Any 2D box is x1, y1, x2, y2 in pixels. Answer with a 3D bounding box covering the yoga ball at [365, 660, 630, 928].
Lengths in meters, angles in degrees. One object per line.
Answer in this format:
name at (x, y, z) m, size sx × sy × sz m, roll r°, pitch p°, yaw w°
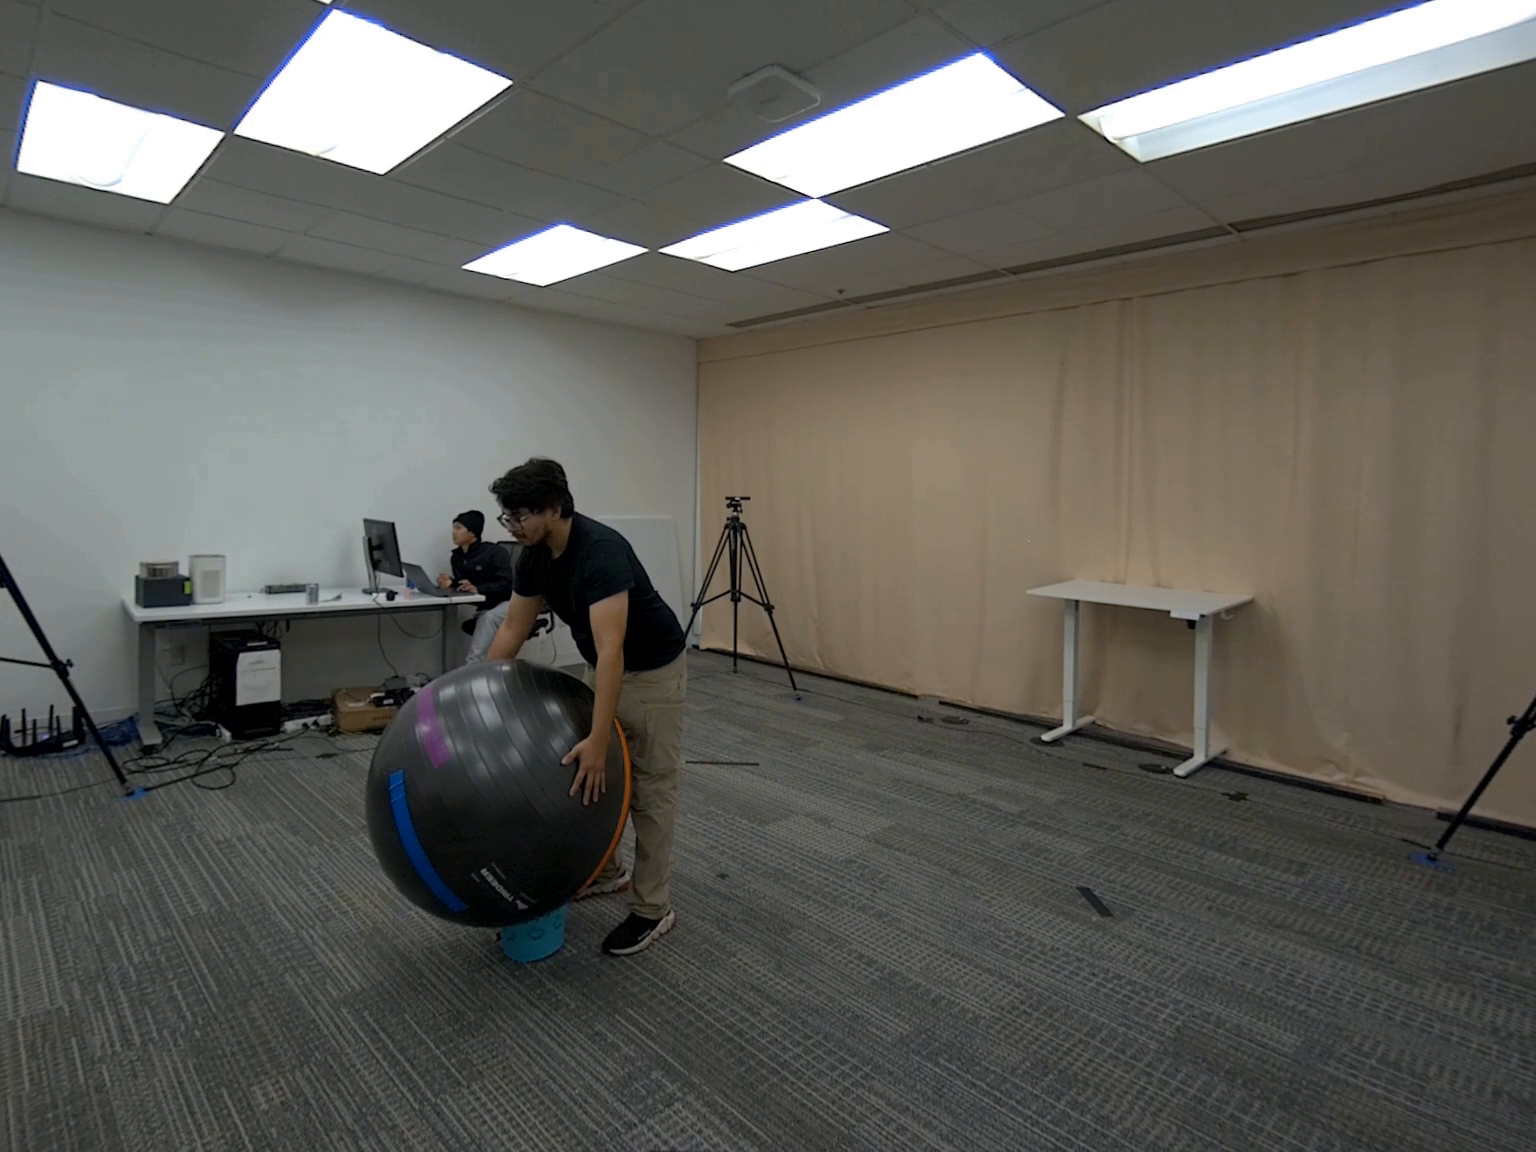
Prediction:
yoga ball at (-0.792, 0.635, 2.490) m, size 0.757 × 0.756 × 0.761 m, roll 1°, pitch 4°, yaw -1°
